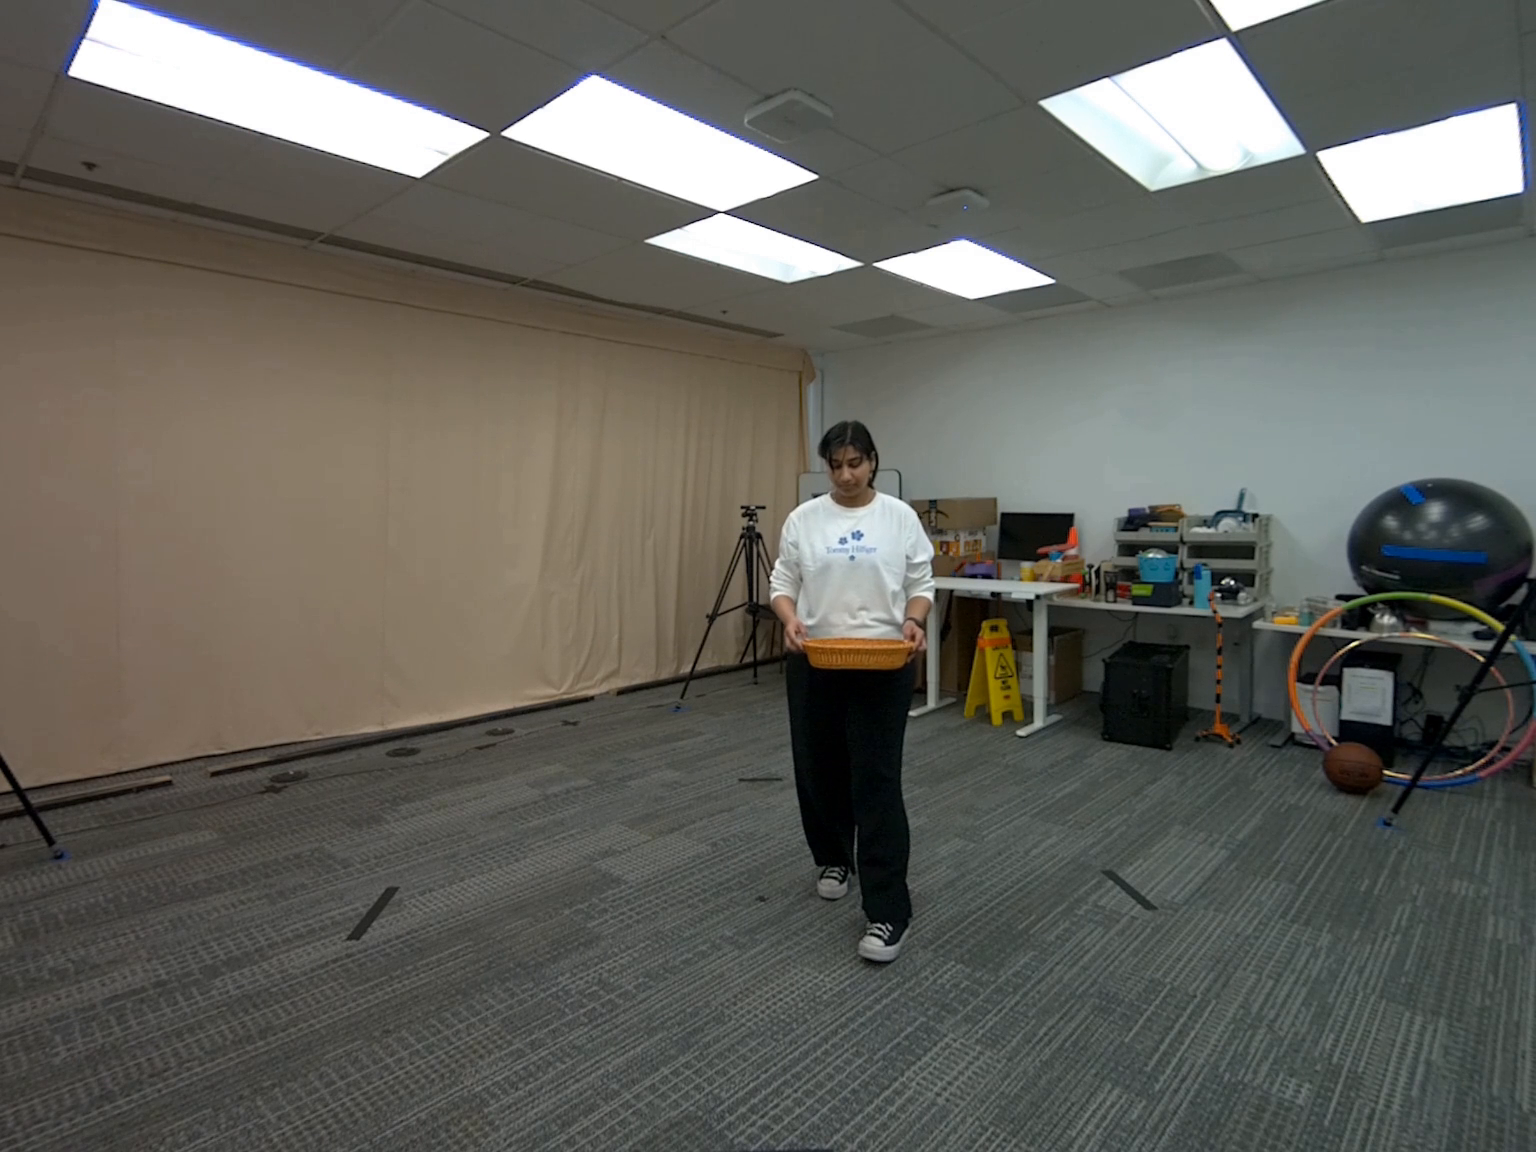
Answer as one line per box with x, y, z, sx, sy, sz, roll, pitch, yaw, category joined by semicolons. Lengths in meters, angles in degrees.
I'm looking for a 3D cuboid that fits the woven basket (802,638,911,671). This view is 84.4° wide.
0.298;0.242;2.604;0.356;0.073;0.249;0;3;13;woven basket
